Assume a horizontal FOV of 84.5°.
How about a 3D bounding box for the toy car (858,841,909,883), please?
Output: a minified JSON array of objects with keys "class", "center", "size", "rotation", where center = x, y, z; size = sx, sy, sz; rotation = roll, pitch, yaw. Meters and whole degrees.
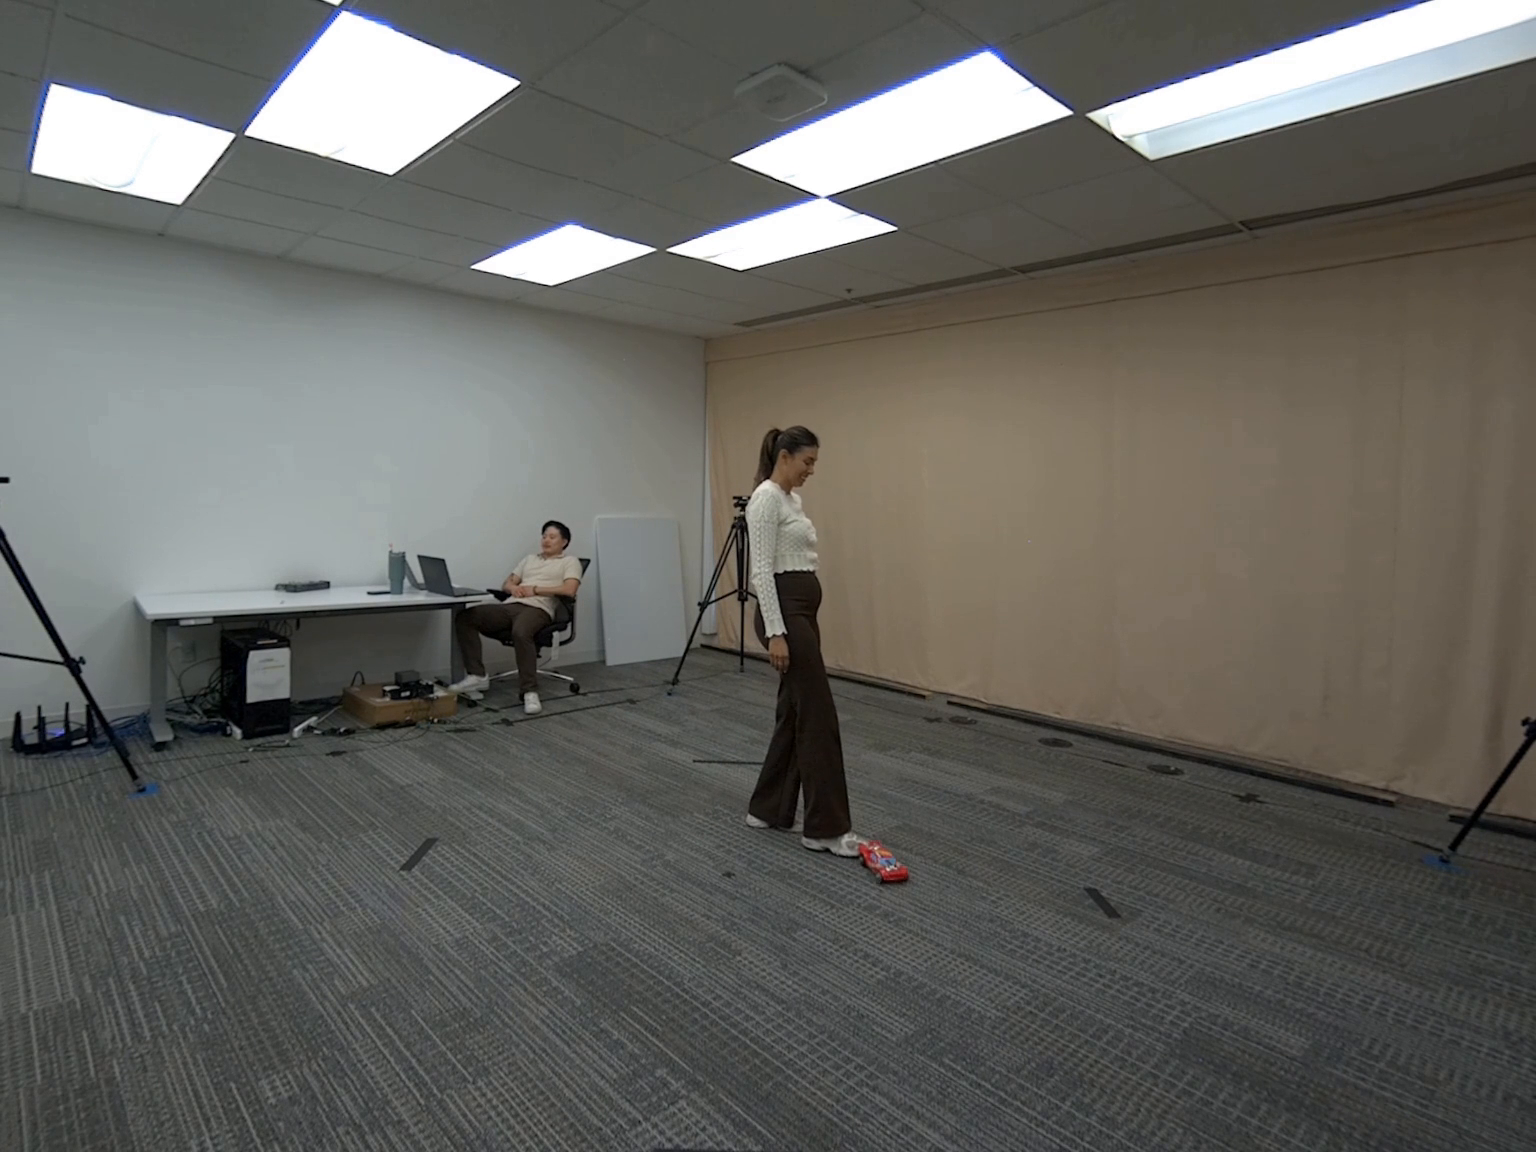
[{"class":"toy car","center":[0.417,1.078,3.168],"size":[0.128,0.082,0.260],"rotation":[2,16,-18]}]
